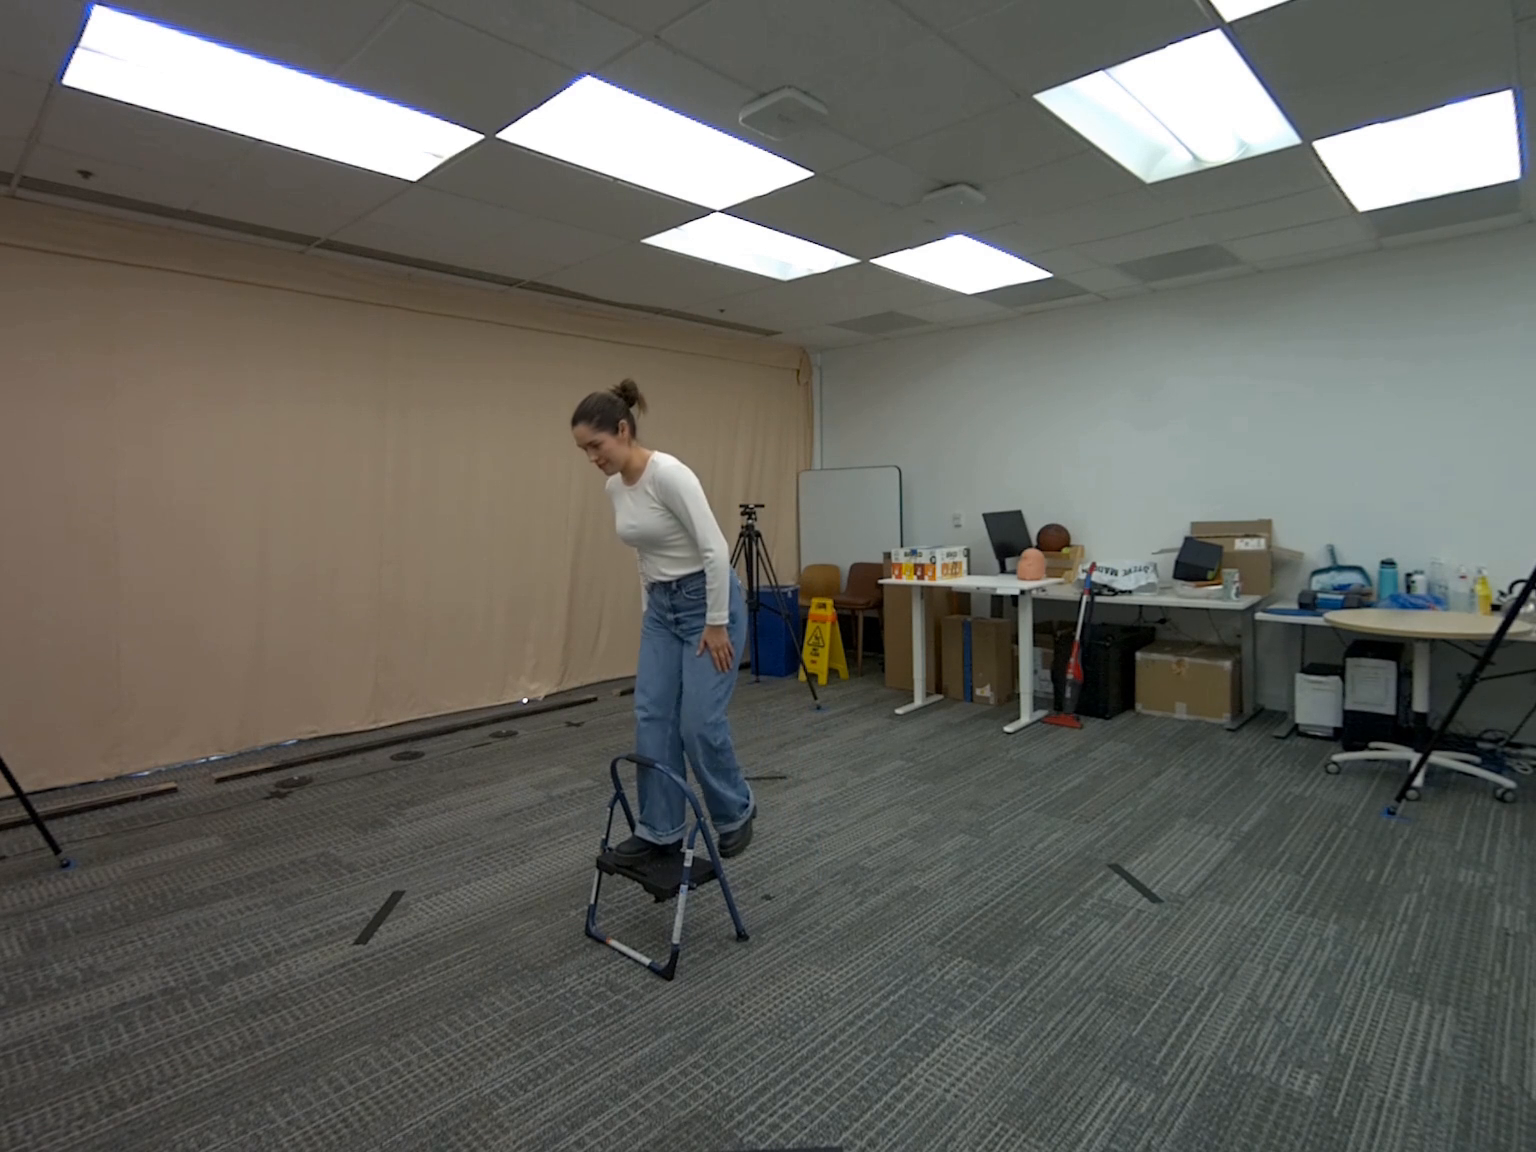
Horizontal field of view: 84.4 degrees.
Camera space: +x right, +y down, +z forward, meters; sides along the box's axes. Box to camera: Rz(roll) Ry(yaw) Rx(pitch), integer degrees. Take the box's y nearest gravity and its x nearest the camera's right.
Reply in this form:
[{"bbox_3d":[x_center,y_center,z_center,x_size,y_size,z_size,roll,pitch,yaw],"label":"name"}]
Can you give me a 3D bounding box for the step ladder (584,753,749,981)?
[{"bbox_3d":[-0.337,0.868,2.715,0.445,0.605,0.339,1,4,42],"label":"step ladder"}]
